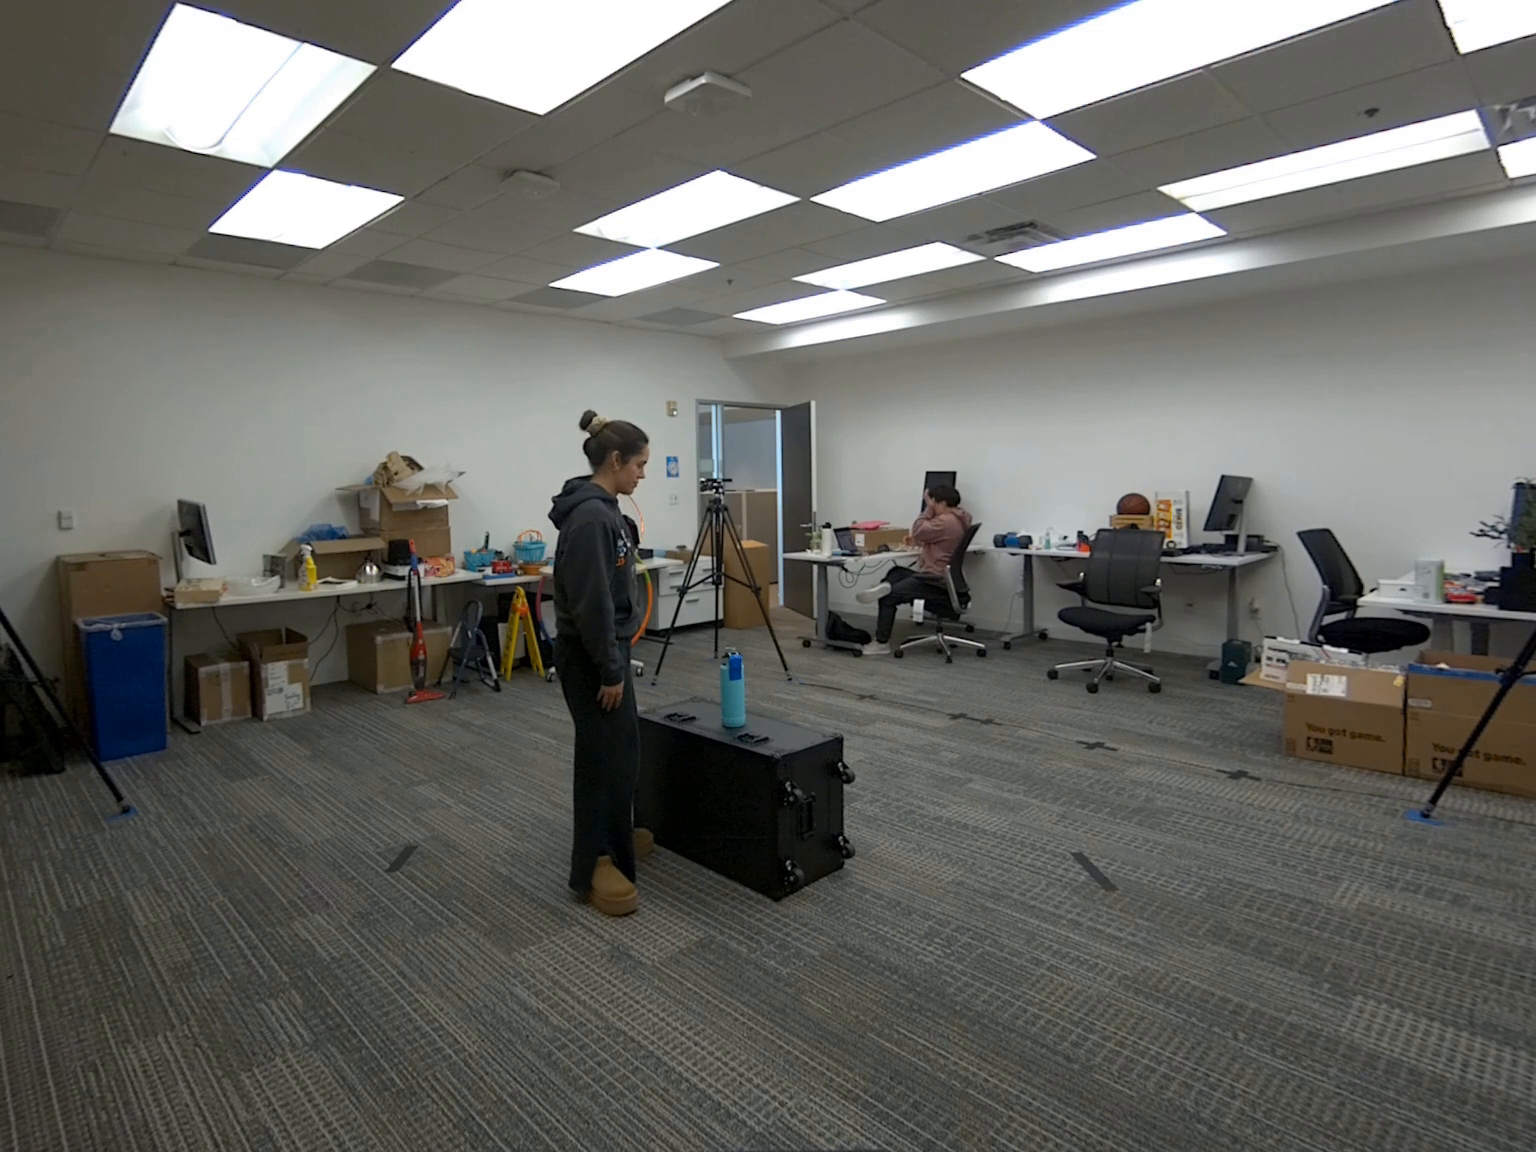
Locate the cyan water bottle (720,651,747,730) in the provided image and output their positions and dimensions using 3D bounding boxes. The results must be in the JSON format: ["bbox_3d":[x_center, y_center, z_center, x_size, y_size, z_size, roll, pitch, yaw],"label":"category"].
[{"bbox_3d":[-0.130,0.413,3.180,0.092,0.282,0.093,-1,3,-2],"label":"cyan water bottle"}]
